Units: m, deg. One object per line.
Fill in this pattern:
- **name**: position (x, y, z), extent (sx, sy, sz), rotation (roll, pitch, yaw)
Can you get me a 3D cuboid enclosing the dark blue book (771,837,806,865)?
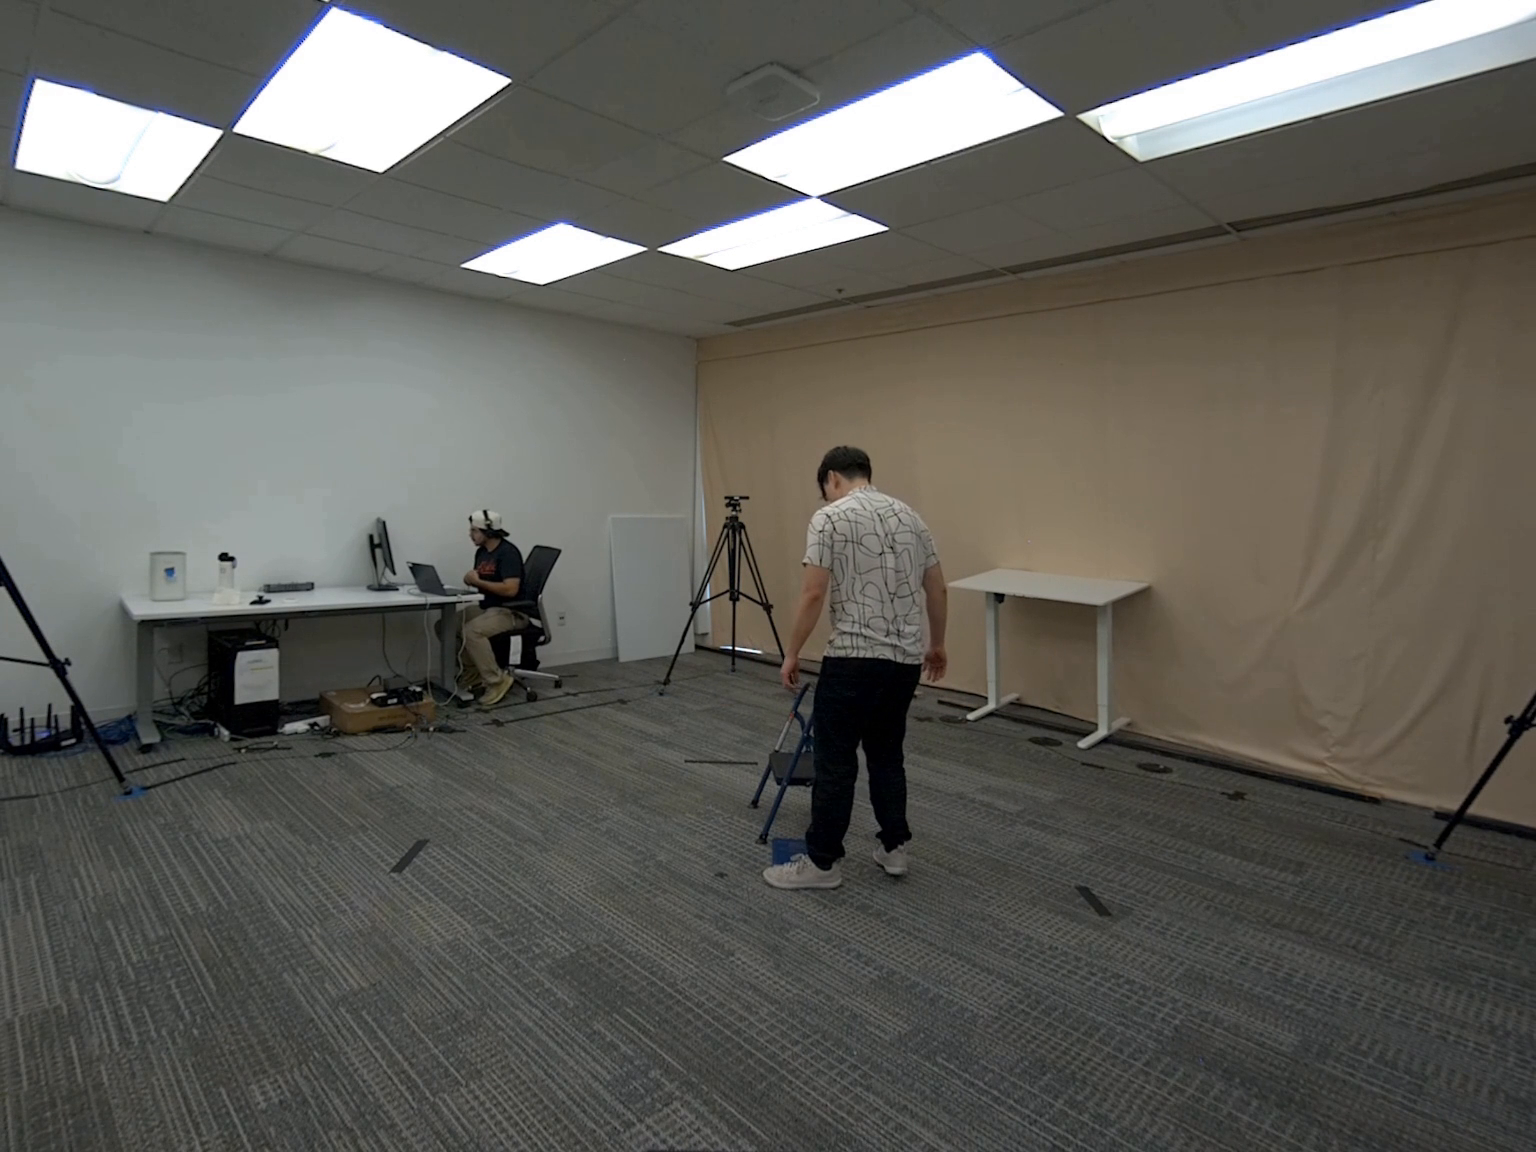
- **dark blue book**: position (0.097, 1.081, 3.222), extent (0.164, 0.045, 0.245), rotation (1, 6, 2)
